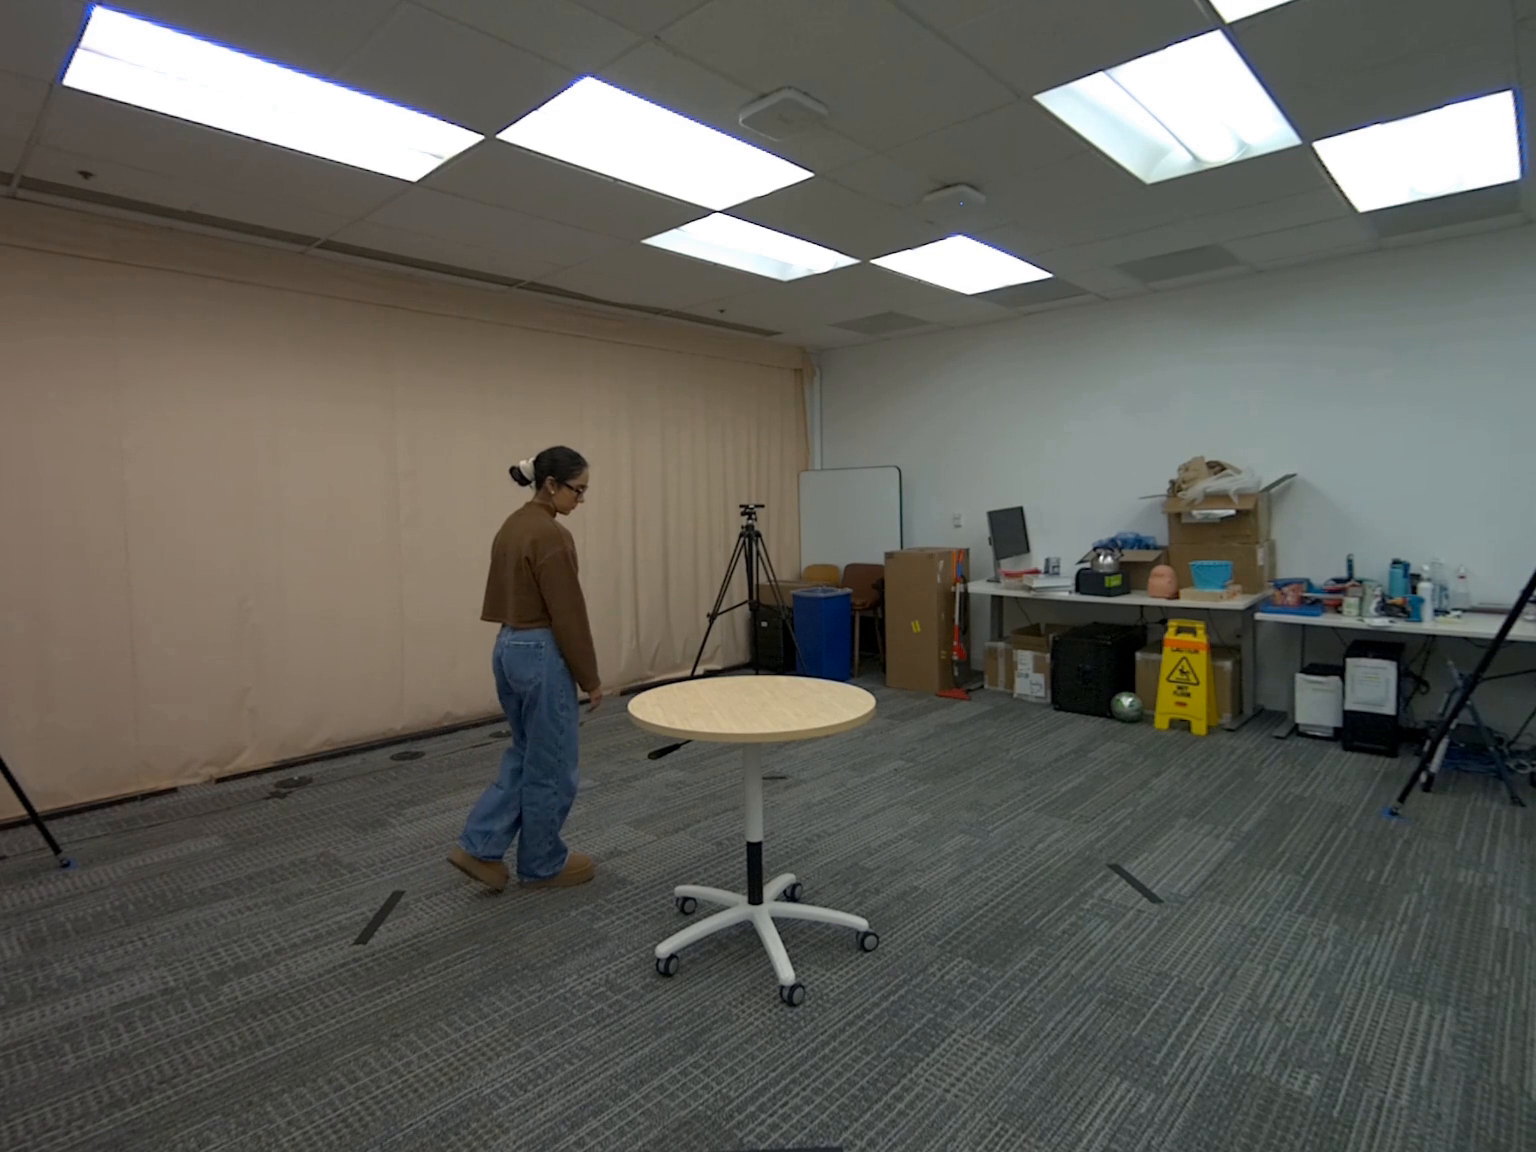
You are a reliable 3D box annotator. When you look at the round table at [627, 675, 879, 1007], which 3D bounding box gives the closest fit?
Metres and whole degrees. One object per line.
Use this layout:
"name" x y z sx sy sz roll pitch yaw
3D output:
"round table" -0.042 0.781 2.645 0.763 0.792 0.766 -1 4 -2
